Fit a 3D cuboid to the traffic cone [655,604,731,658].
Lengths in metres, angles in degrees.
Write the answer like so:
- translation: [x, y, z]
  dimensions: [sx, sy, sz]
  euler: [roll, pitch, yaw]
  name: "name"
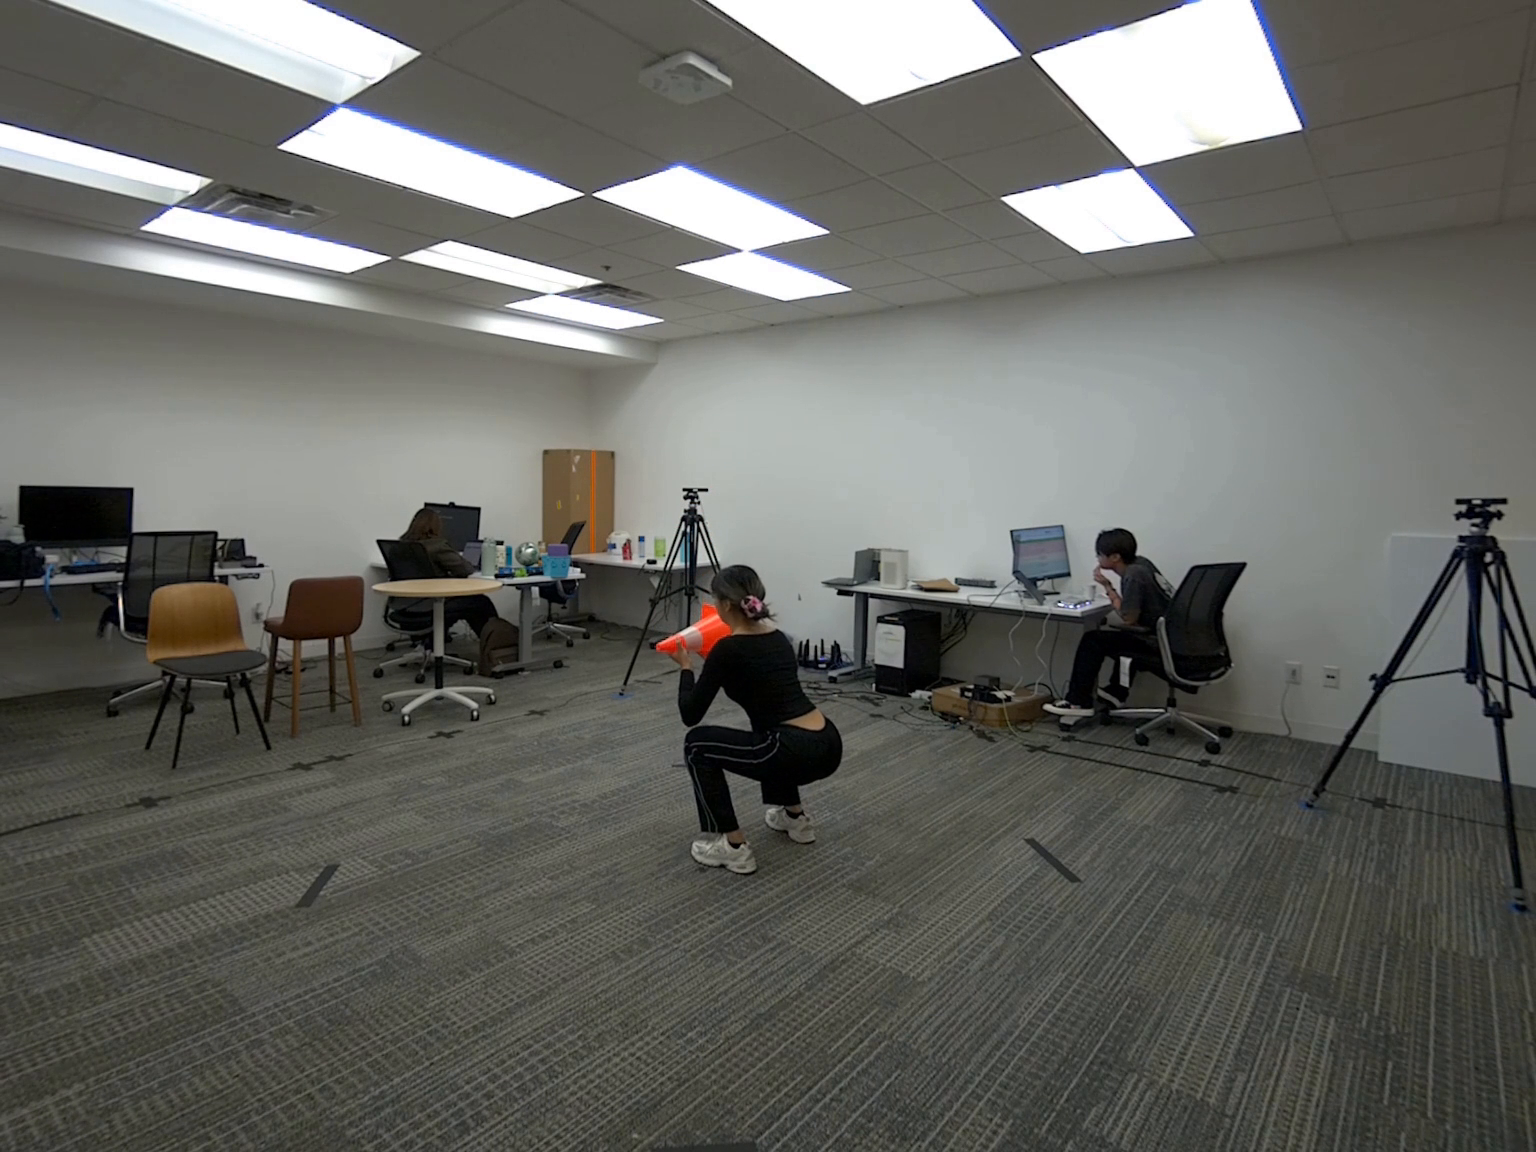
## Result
- translation: [-0.330, 0.255, 3.482]
  dimensions: [0.211, 0.203, 0.374]
  euler: [23, 19, 31]
  name: "traffic cone"
